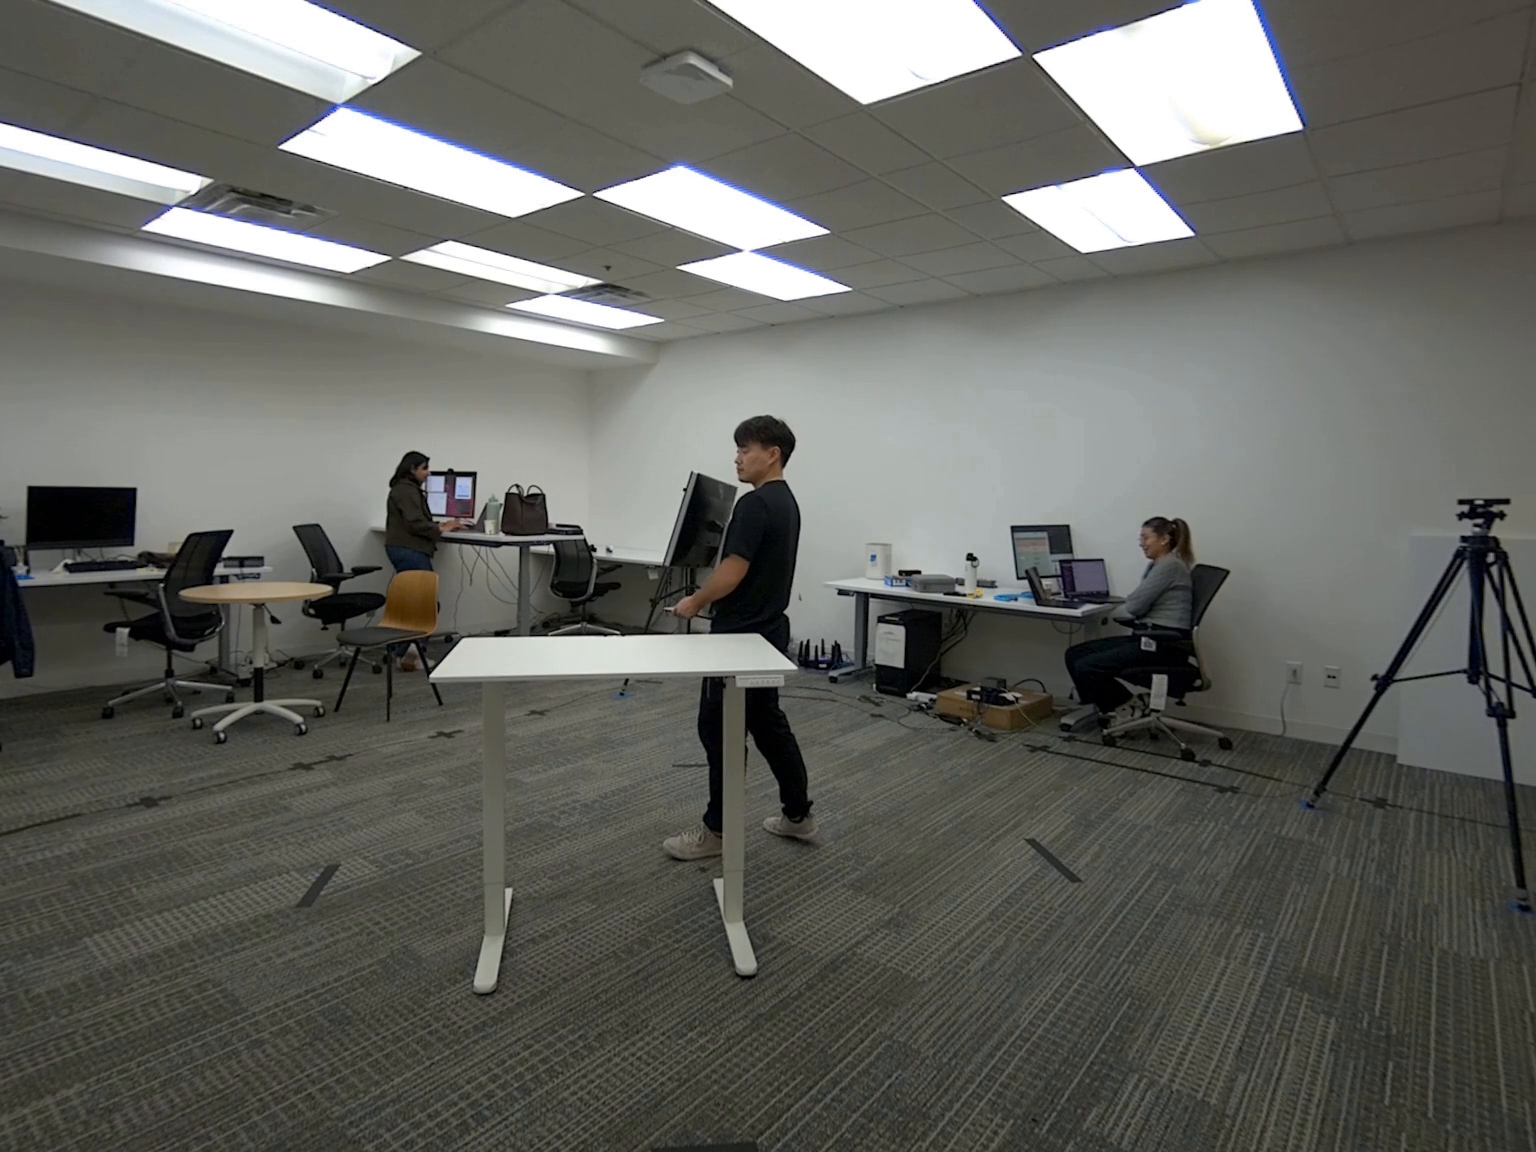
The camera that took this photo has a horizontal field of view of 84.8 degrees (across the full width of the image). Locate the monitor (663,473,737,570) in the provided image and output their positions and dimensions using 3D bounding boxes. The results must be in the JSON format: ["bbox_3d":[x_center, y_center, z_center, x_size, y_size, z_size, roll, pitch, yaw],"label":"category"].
[{"bbox_3d":[-0.252,-0.117,3.361,0.190,0.522,0.530,6,1,12],"label":"monitor"}]
